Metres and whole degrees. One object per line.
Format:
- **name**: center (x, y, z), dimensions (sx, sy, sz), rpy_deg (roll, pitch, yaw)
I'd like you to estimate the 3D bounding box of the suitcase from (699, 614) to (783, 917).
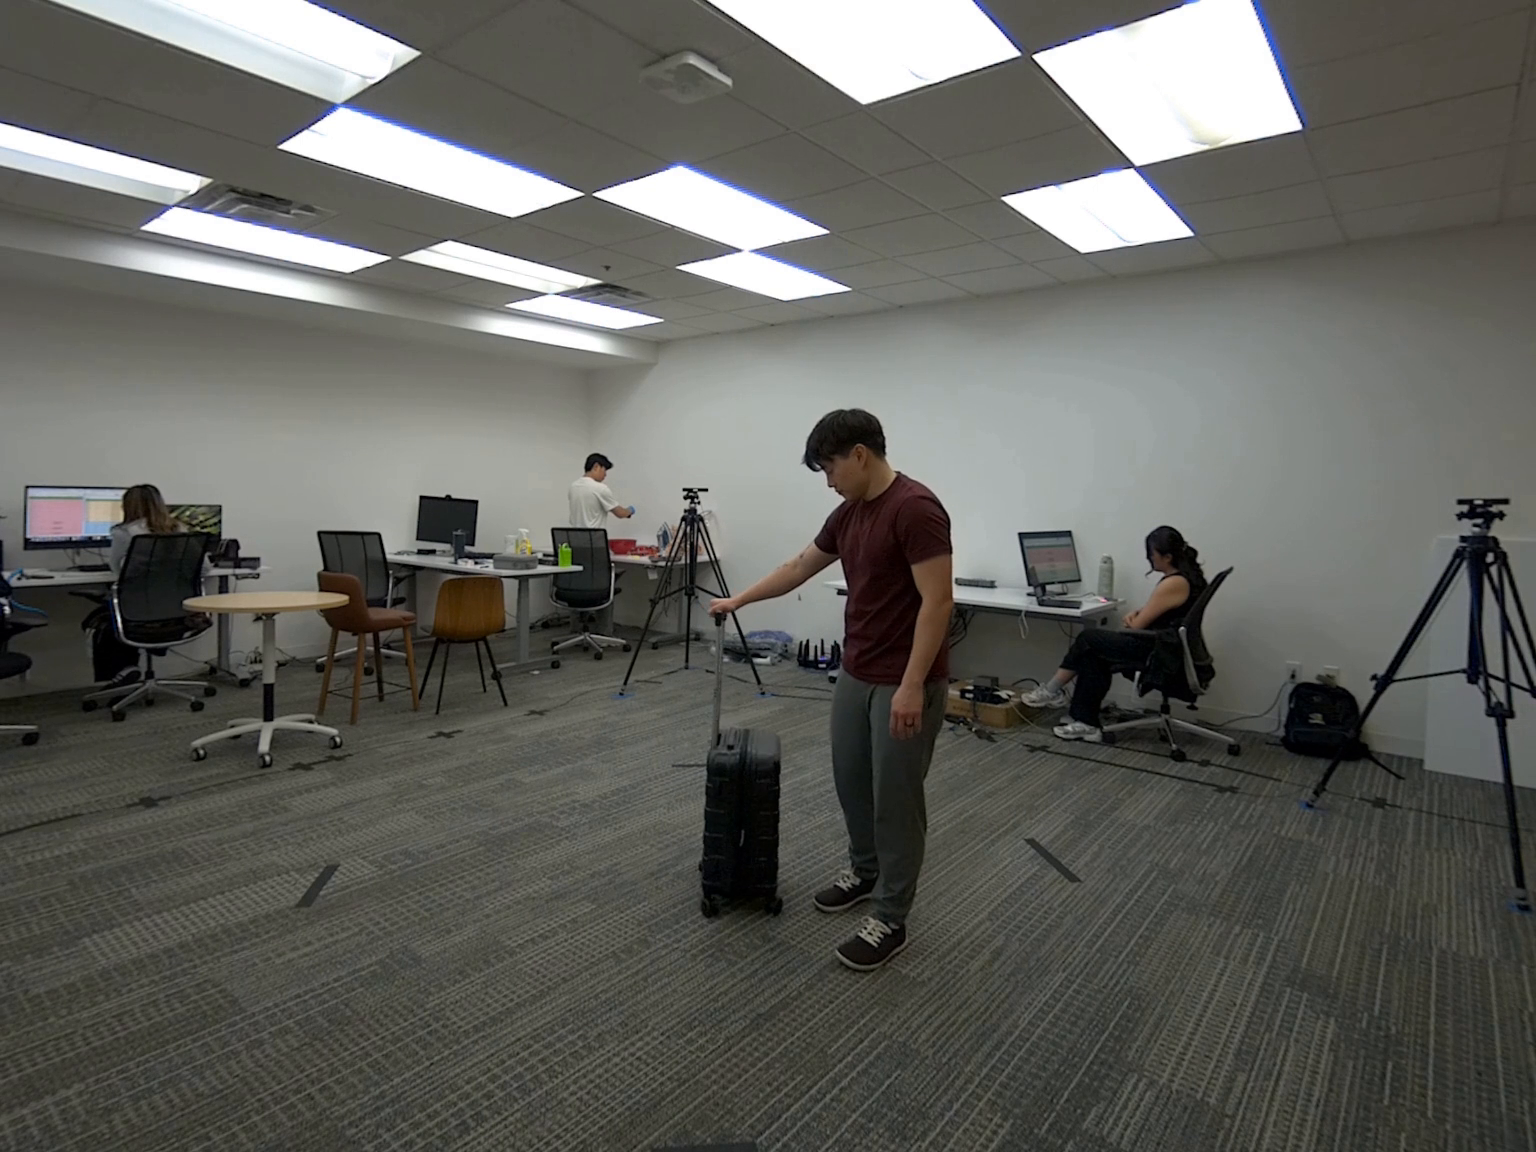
- **suitcase**: center (-0.082, 0.612, 2.913), dimensions (0.257, 0.976, 0.385), rpy_deg (4, 3, -1)
